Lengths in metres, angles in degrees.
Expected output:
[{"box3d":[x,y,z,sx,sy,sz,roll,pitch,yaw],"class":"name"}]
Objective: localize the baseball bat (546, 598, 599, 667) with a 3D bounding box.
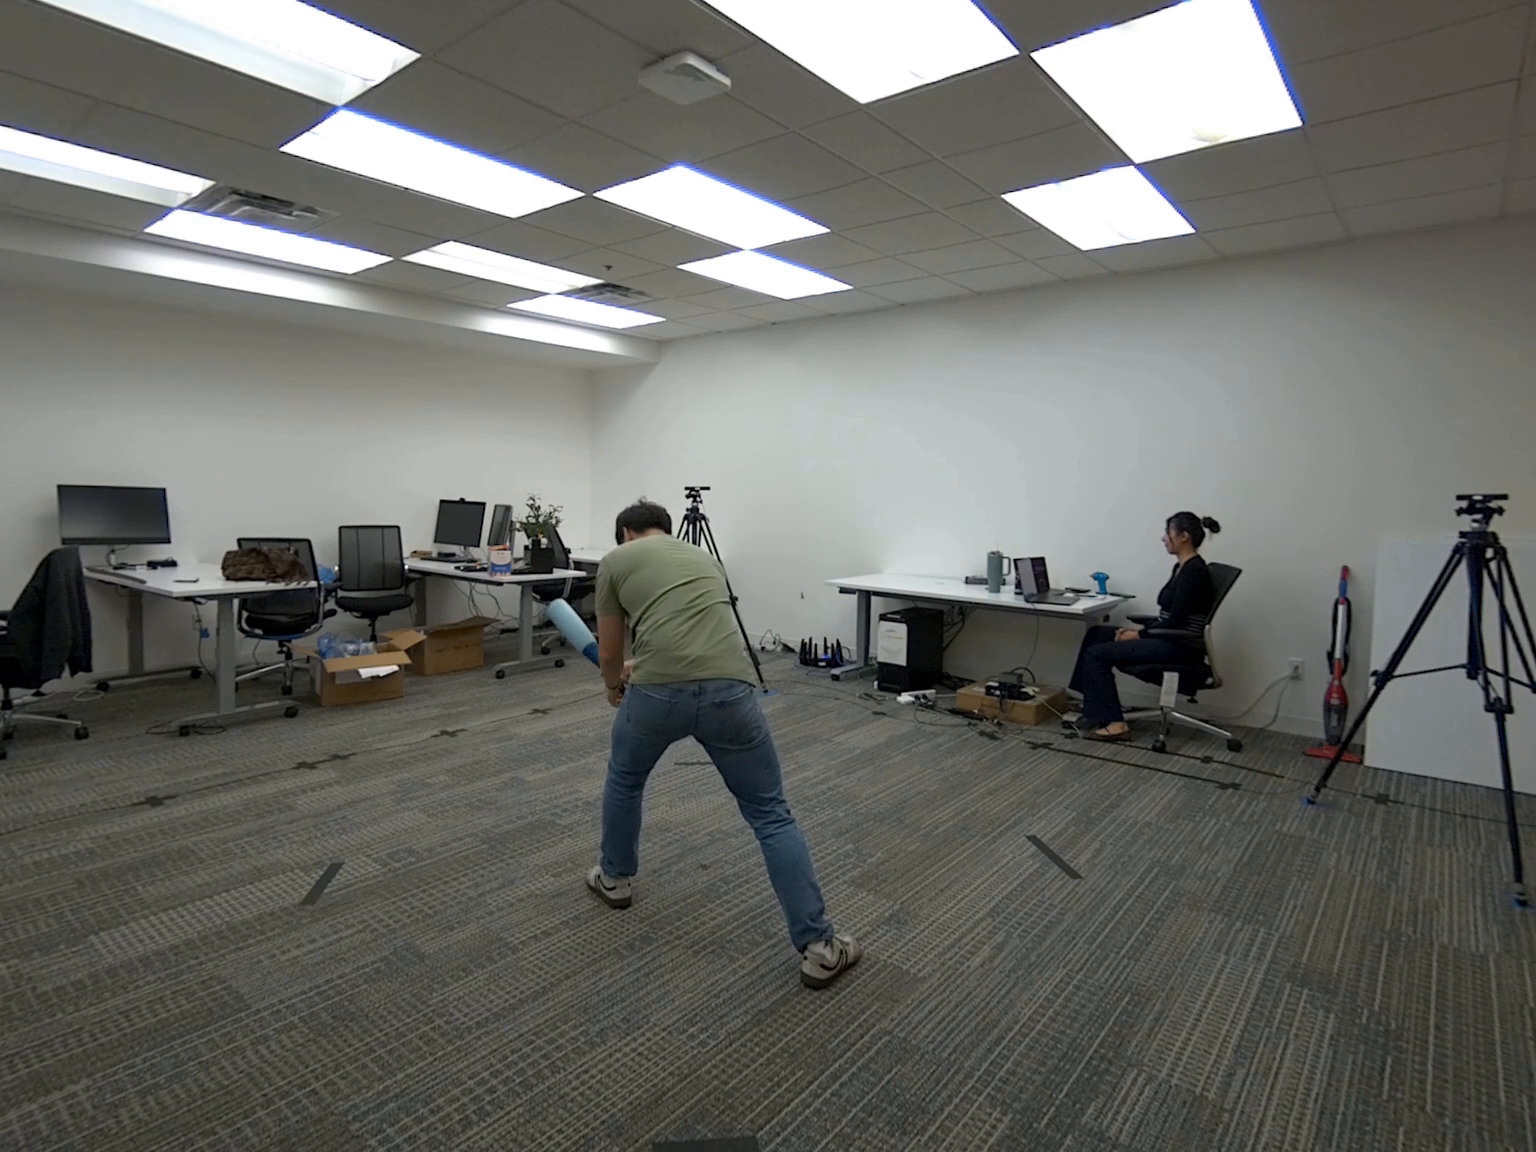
[{"box3d":[-0.656,0.301,3.173,0.086,0.088,0.563,-3,40,-50],"class":"baseball bat"}]
